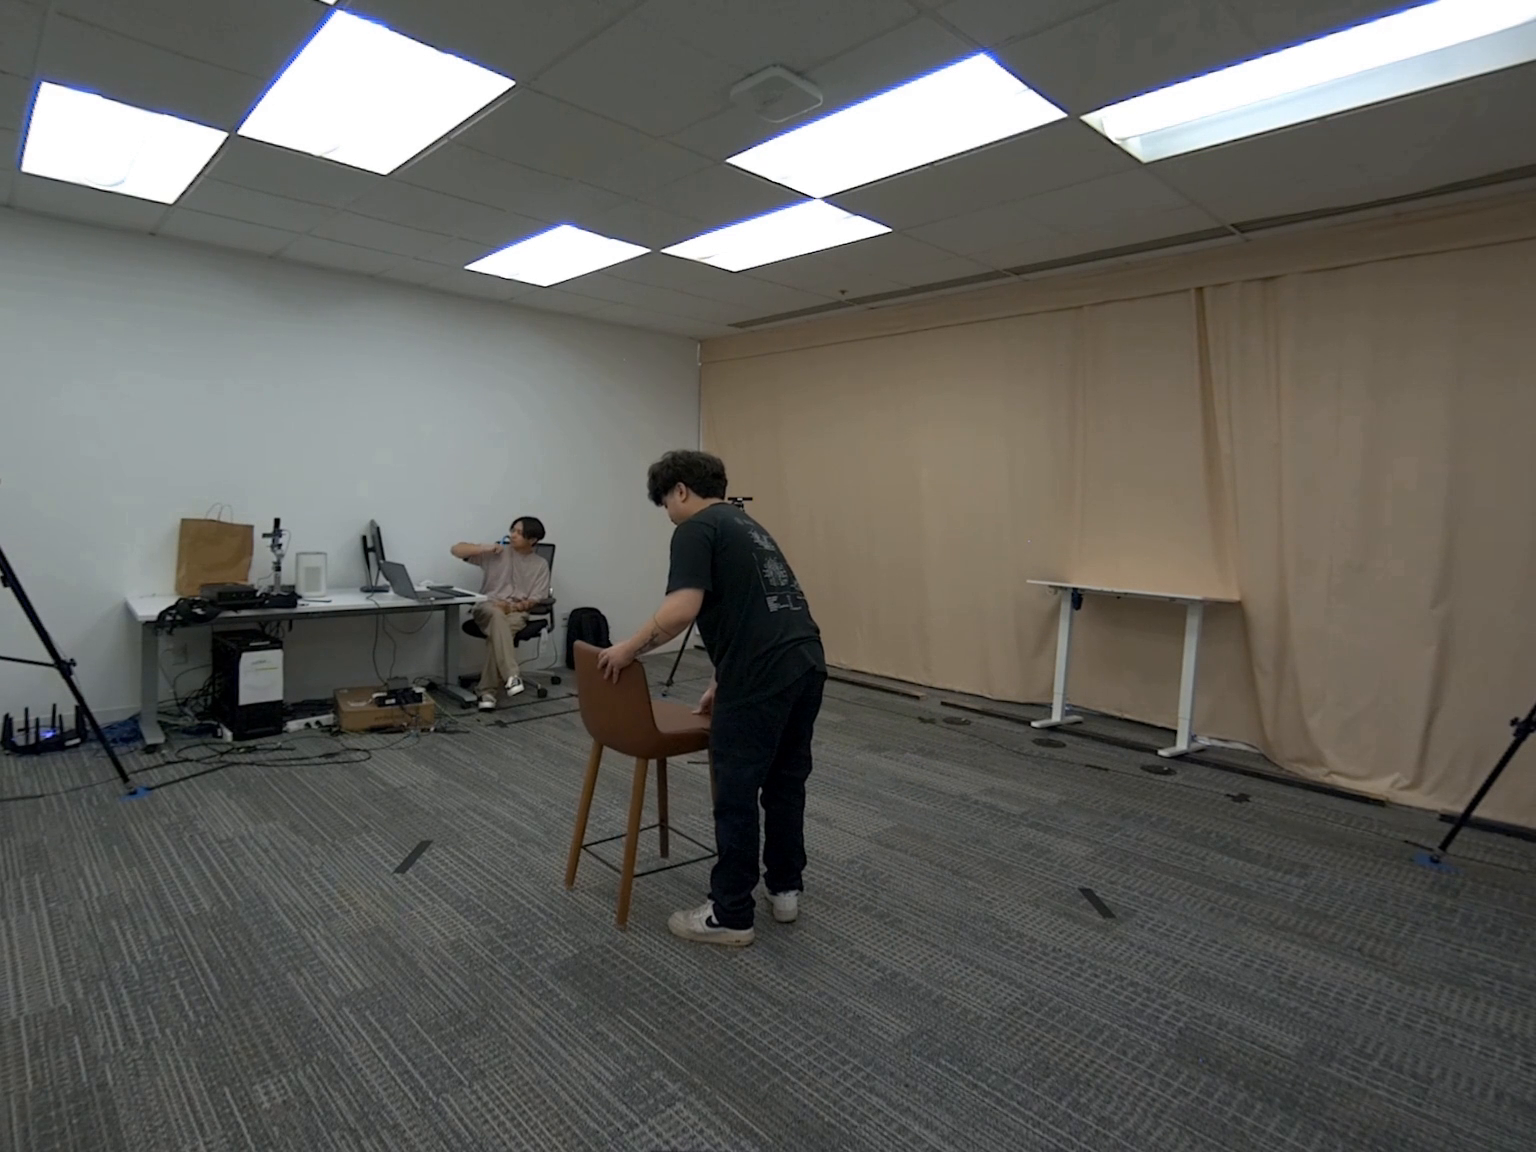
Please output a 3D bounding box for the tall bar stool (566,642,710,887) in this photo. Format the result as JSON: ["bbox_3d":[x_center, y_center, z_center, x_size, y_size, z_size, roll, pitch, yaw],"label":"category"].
[{"bbox_3d":[-0.424,0.670,2.957,0.457,0.887,0.468,-2,4,-39],"label":"tall bar stool"}]
